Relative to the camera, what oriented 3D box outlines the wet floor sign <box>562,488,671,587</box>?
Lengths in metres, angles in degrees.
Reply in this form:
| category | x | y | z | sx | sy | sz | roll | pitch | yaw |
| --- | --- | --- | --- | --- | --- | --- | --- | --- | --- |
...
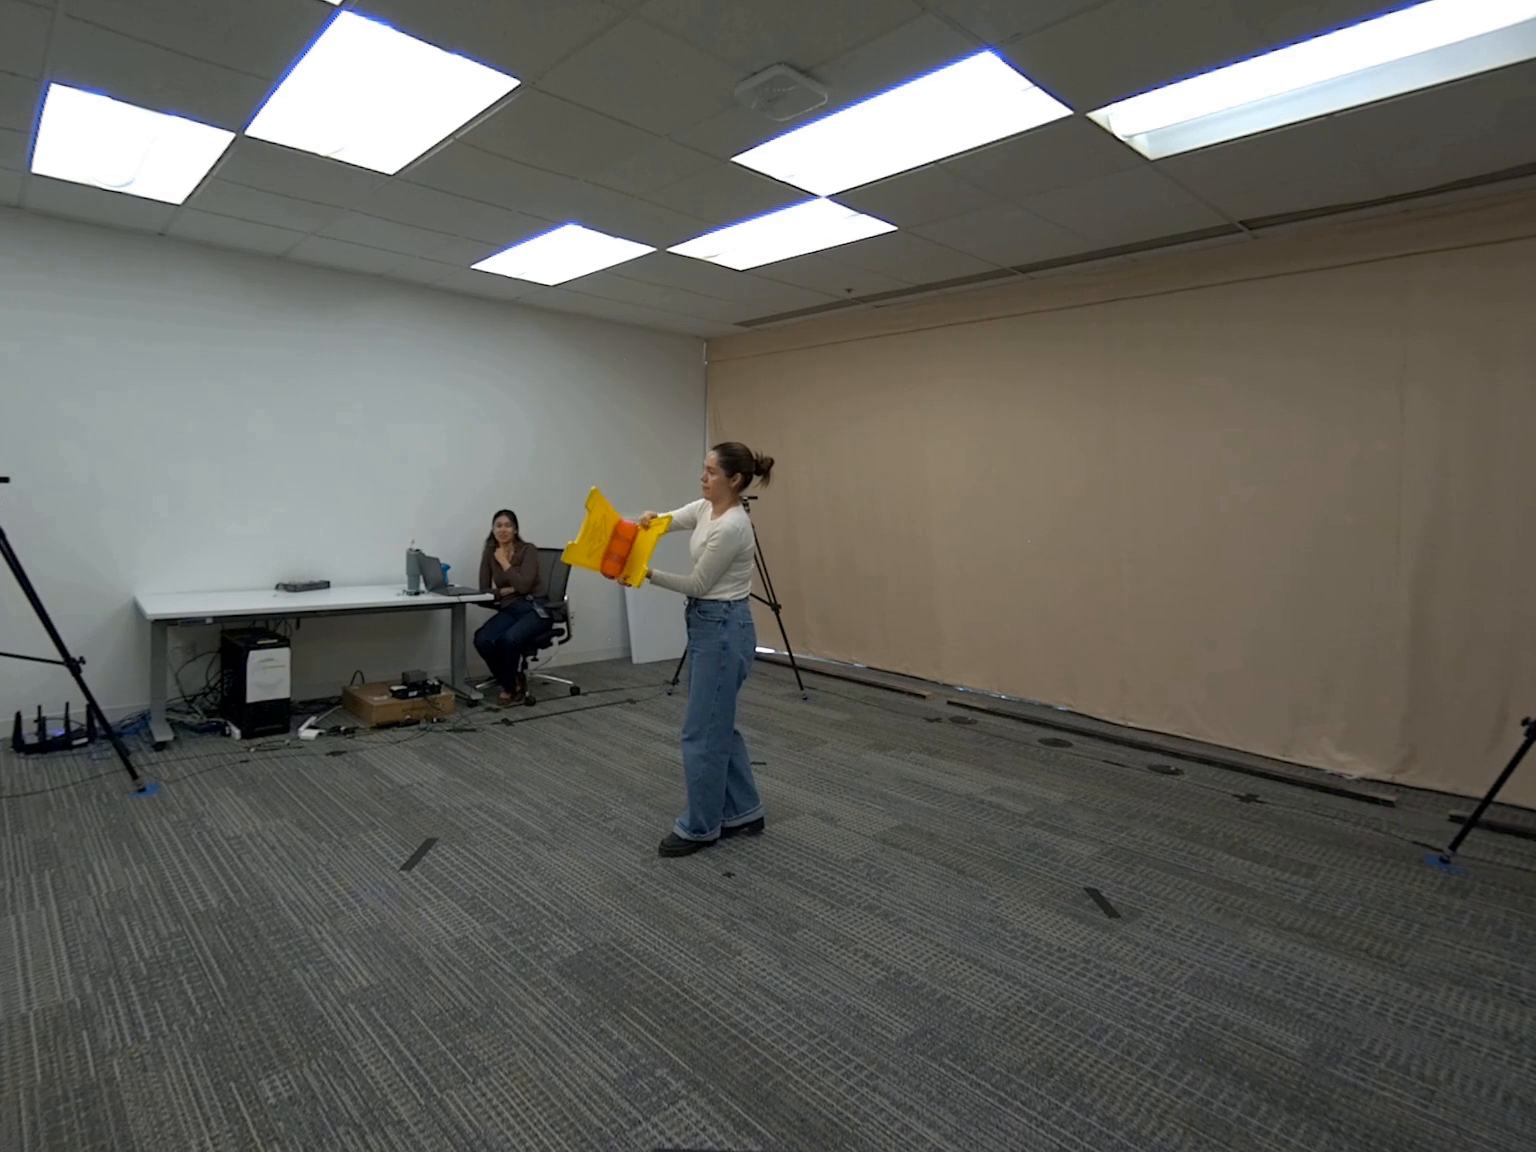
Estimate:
| category | x | y | z | sx | sy | sz | roll | pitch | yaw |
| --- | --- | --- | --- | --- | --- | --- | --- | --- | --- |
| wet floor sign | -0.569 | -0.111 | 3.191 | 0.288 | 0.283 | 0.648 | 22 | -6 | -7 |
